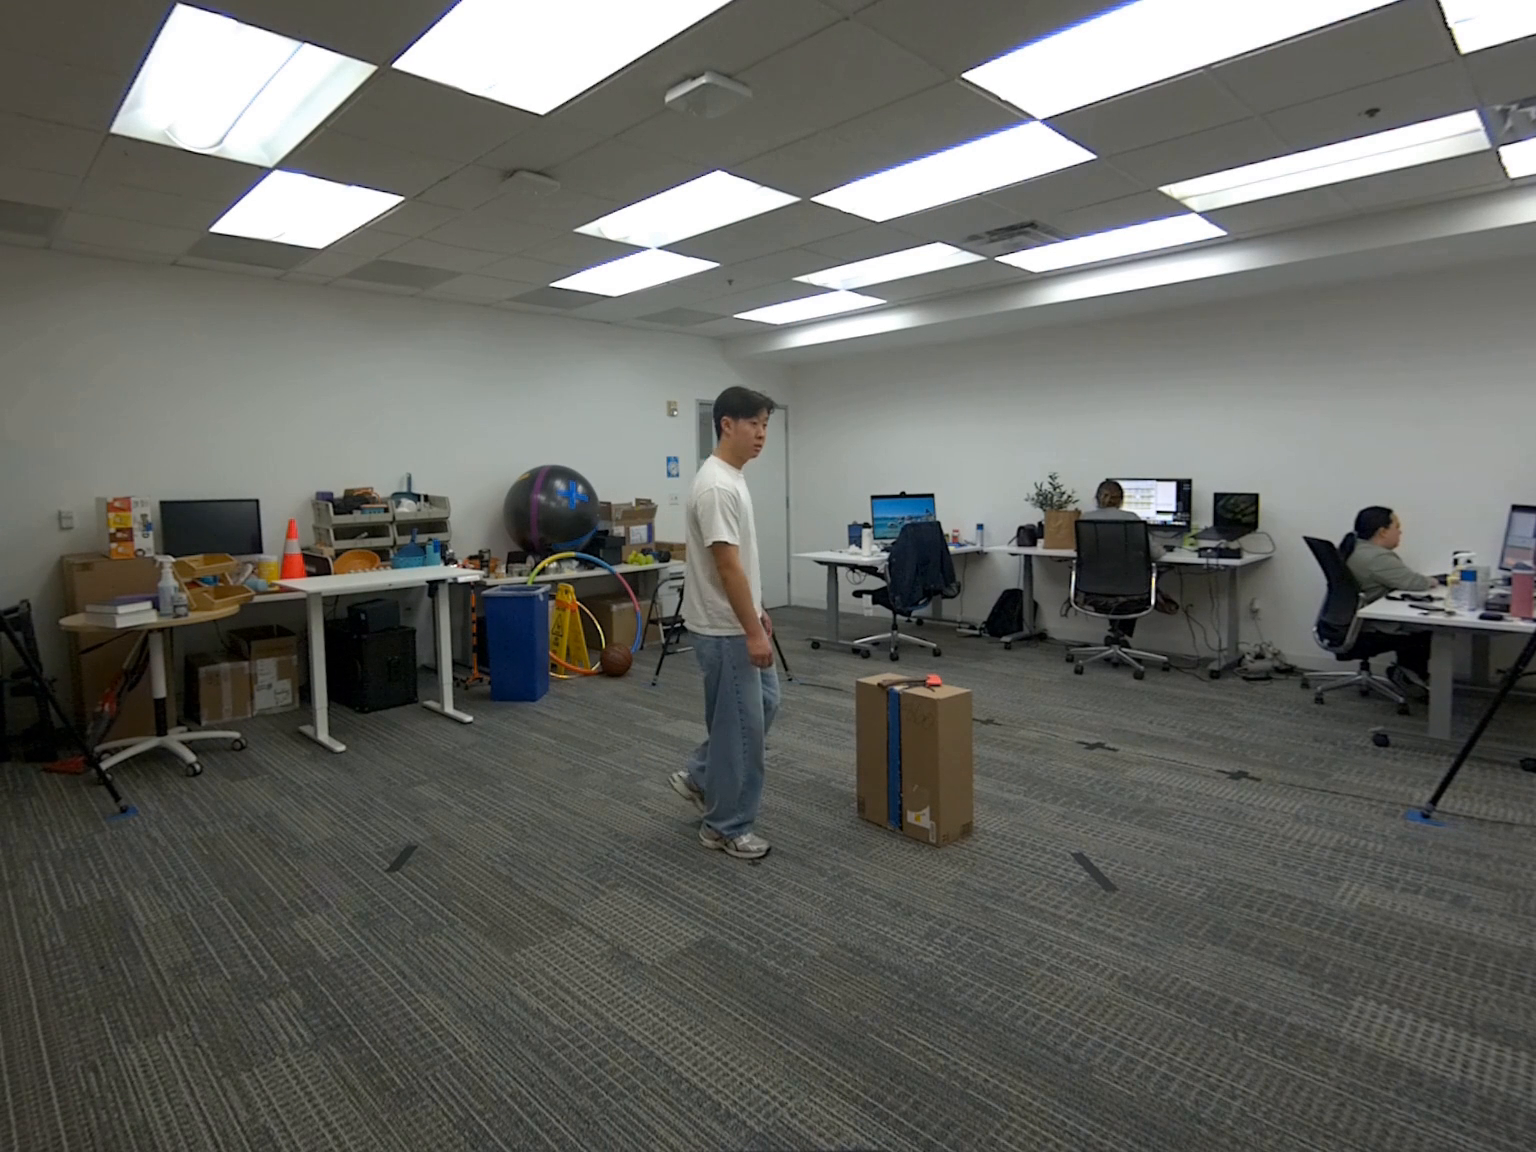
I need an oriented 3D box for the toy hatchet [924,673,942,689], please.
[{"bbox_3d":[0.572,0.422,3.384,0.264,0.029,0.135,-6,11,-29],"label":"toy hatchet"}]
